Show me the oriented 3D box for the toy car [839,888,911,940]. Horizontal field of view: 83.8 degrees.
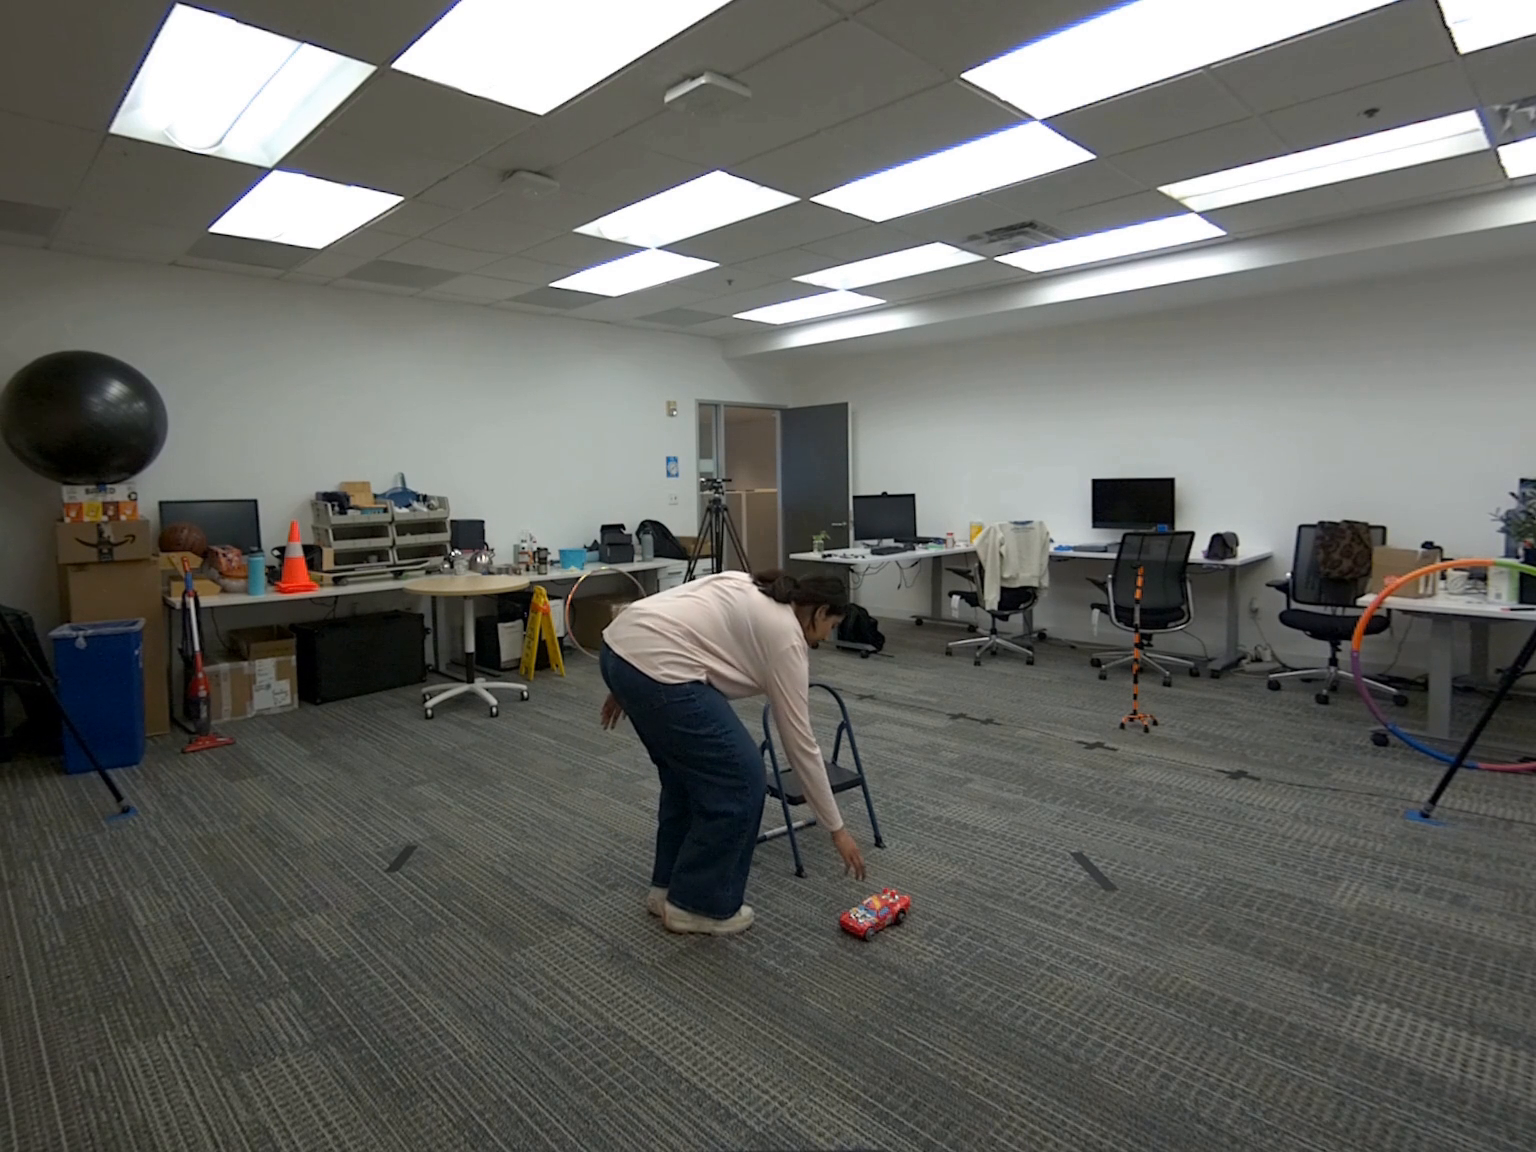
[{"bbox_3d":[0.336,1.048,2.669,0.250,0.082,0.134,-21,18,-37],"label":"toy car"}]
